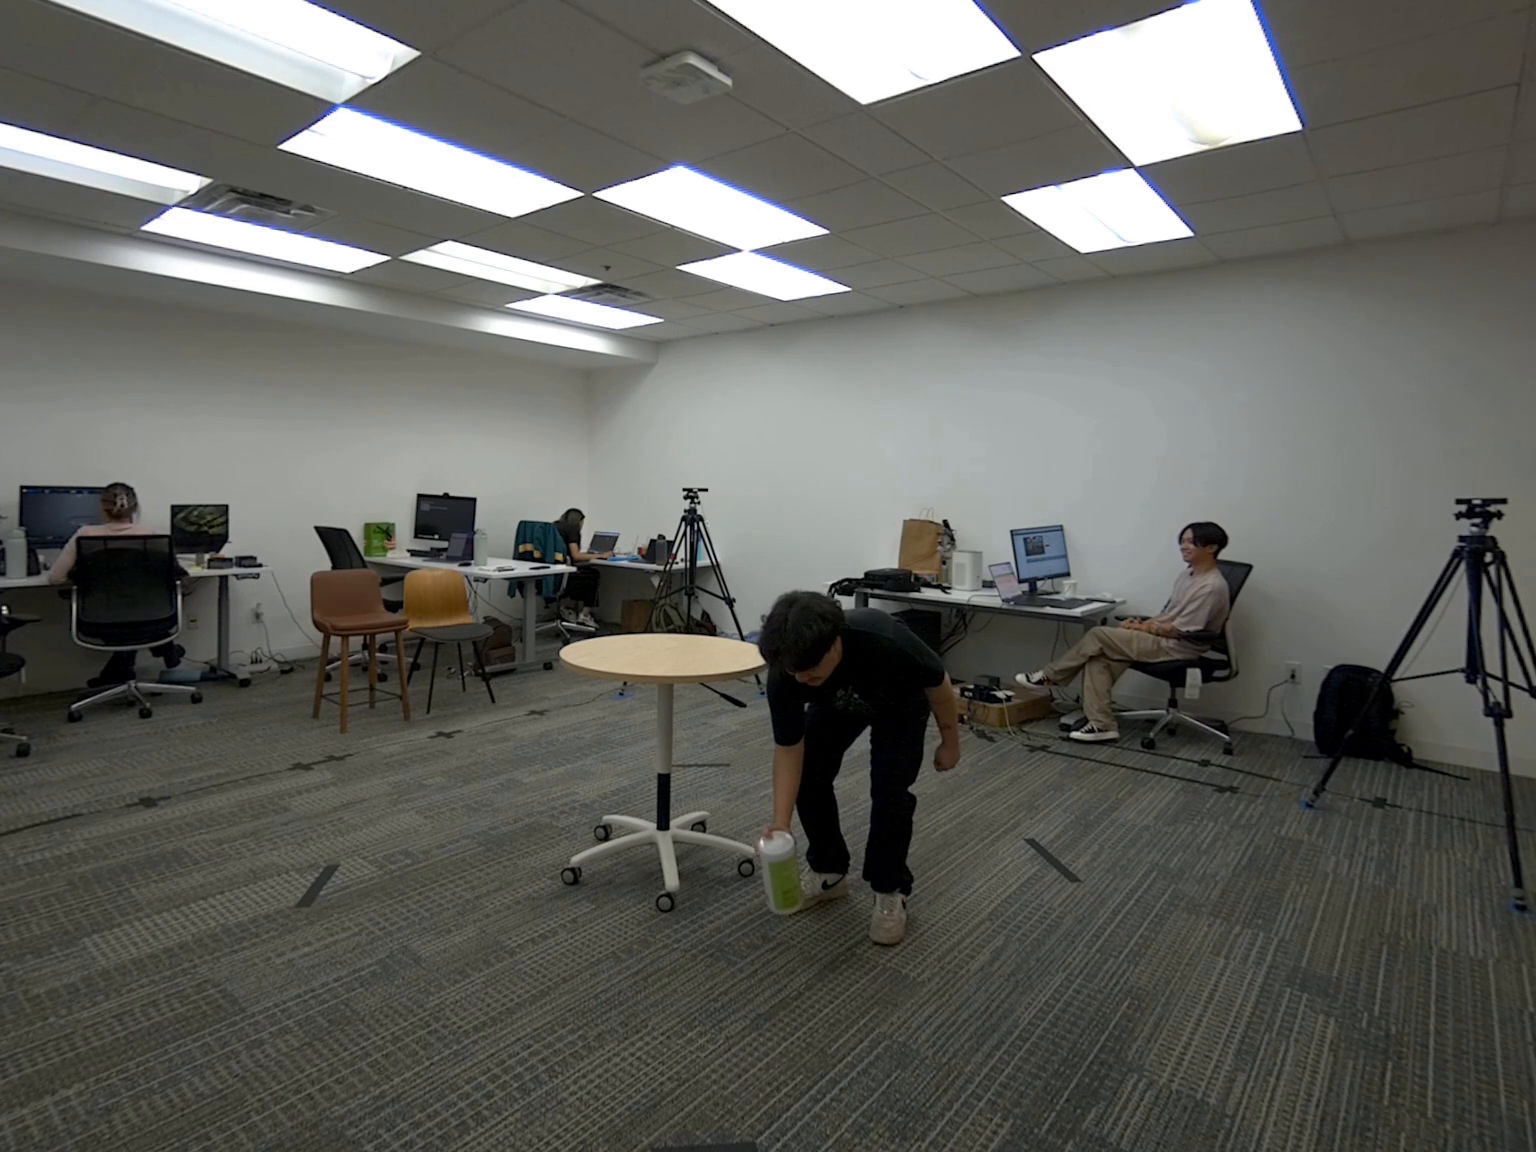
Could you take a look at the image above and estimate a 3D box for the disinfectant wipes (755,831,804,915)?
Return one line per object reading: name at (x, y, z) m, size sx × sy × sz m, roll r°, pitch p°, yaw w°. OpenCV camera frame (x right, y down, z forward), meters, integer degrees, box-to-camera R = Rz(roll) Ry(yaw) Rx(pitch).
disinfectant wipes at (0.029, 0.869, 2.490) m, size 0.118 × 0.215 × 0.119 m, roll -5°, pitch 12°, yaw -1°
